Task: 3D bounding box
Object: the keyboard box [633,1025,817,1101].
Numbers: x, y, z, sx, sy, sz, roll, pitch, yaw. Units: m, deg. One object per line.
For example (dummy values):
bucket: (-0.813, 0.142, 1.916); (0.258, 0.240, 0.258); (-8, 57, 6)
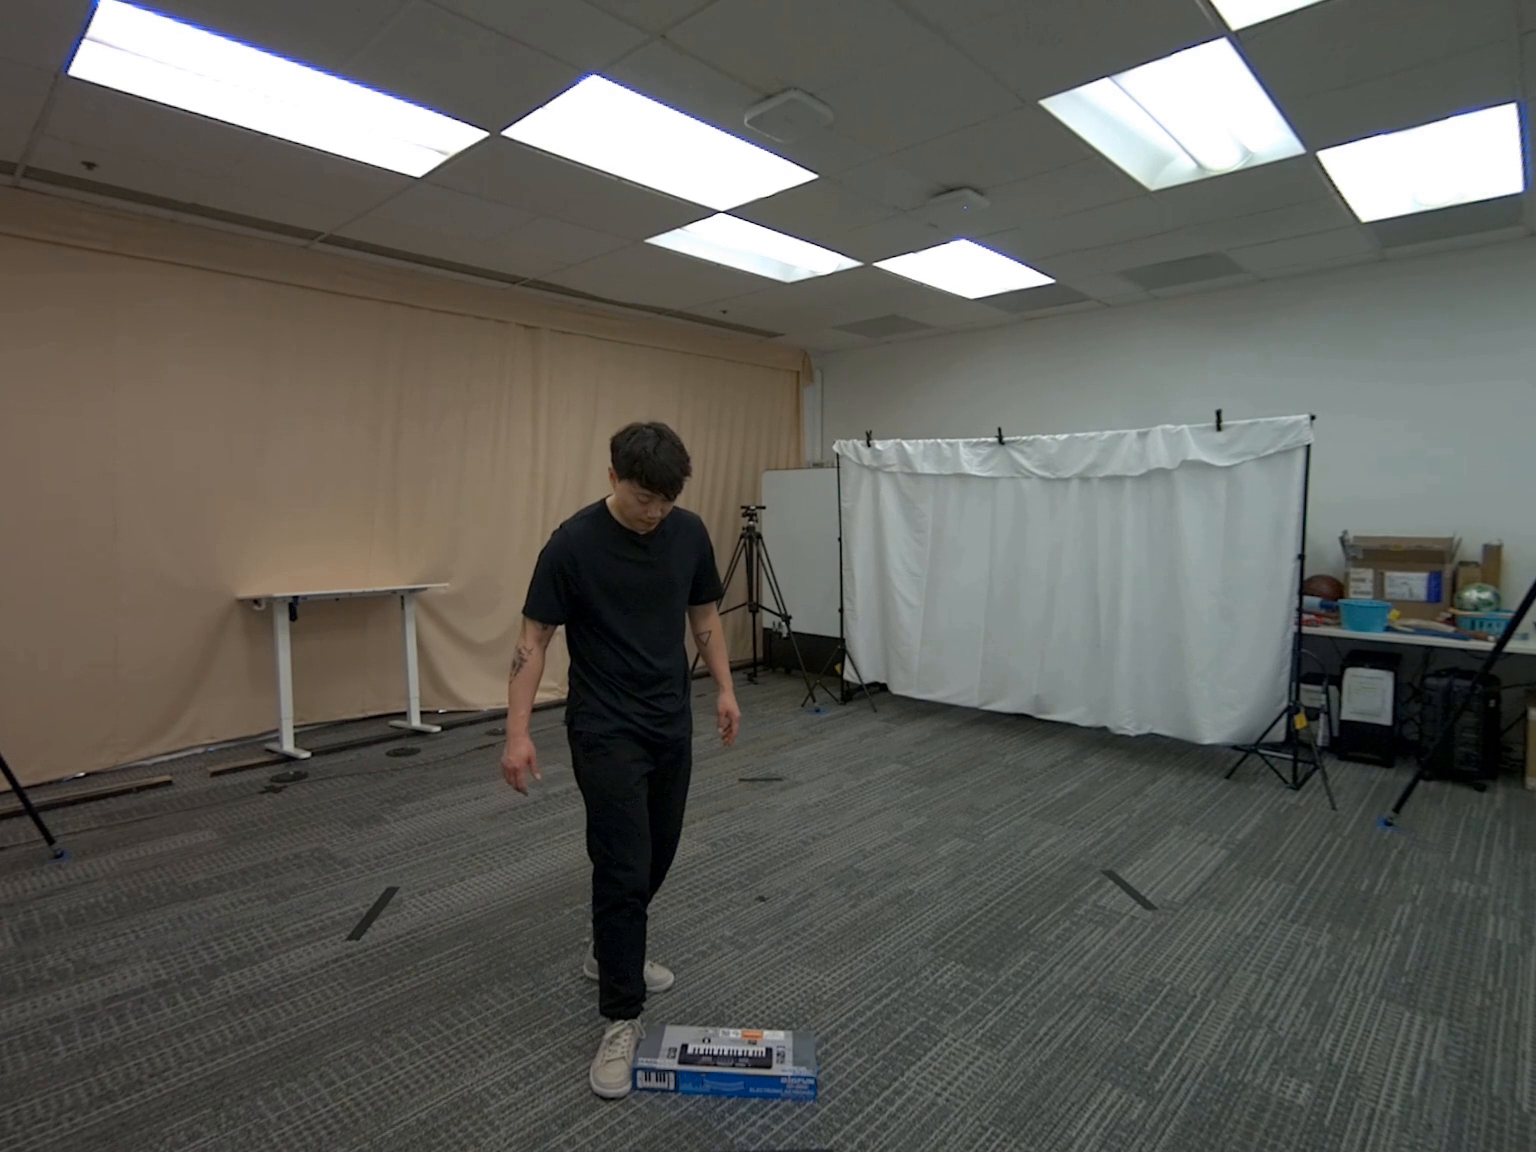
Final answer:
keyboard box: (-0.101, 1.194, 2.064); (0.439, 0.059, 0.175); (0, 5, 5)
